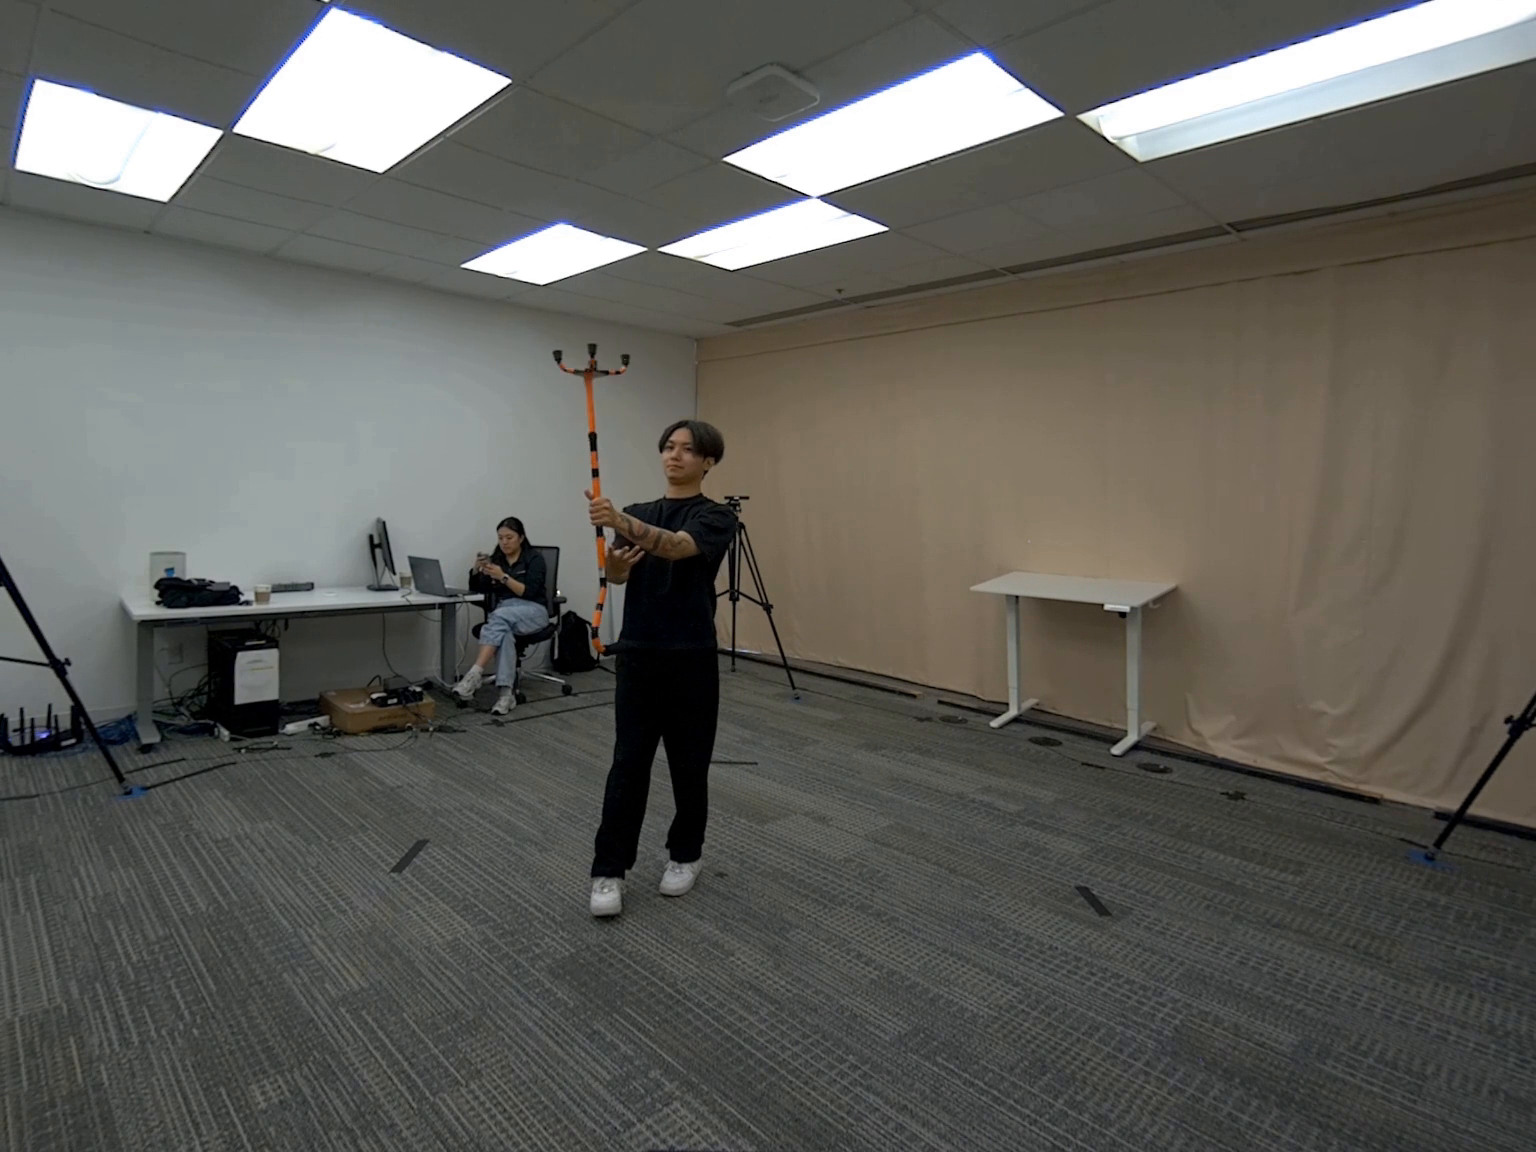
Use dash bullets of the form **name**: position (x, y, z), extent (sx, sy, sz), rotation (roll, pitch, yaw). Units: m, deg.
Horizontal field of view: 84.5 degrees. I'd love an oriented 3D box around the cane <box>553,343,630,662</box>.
- **cane**: position (-0.512, -0.221, 2.524), extent (0.154, 0.908, 0.203), rotation (-4, 0, 23)
